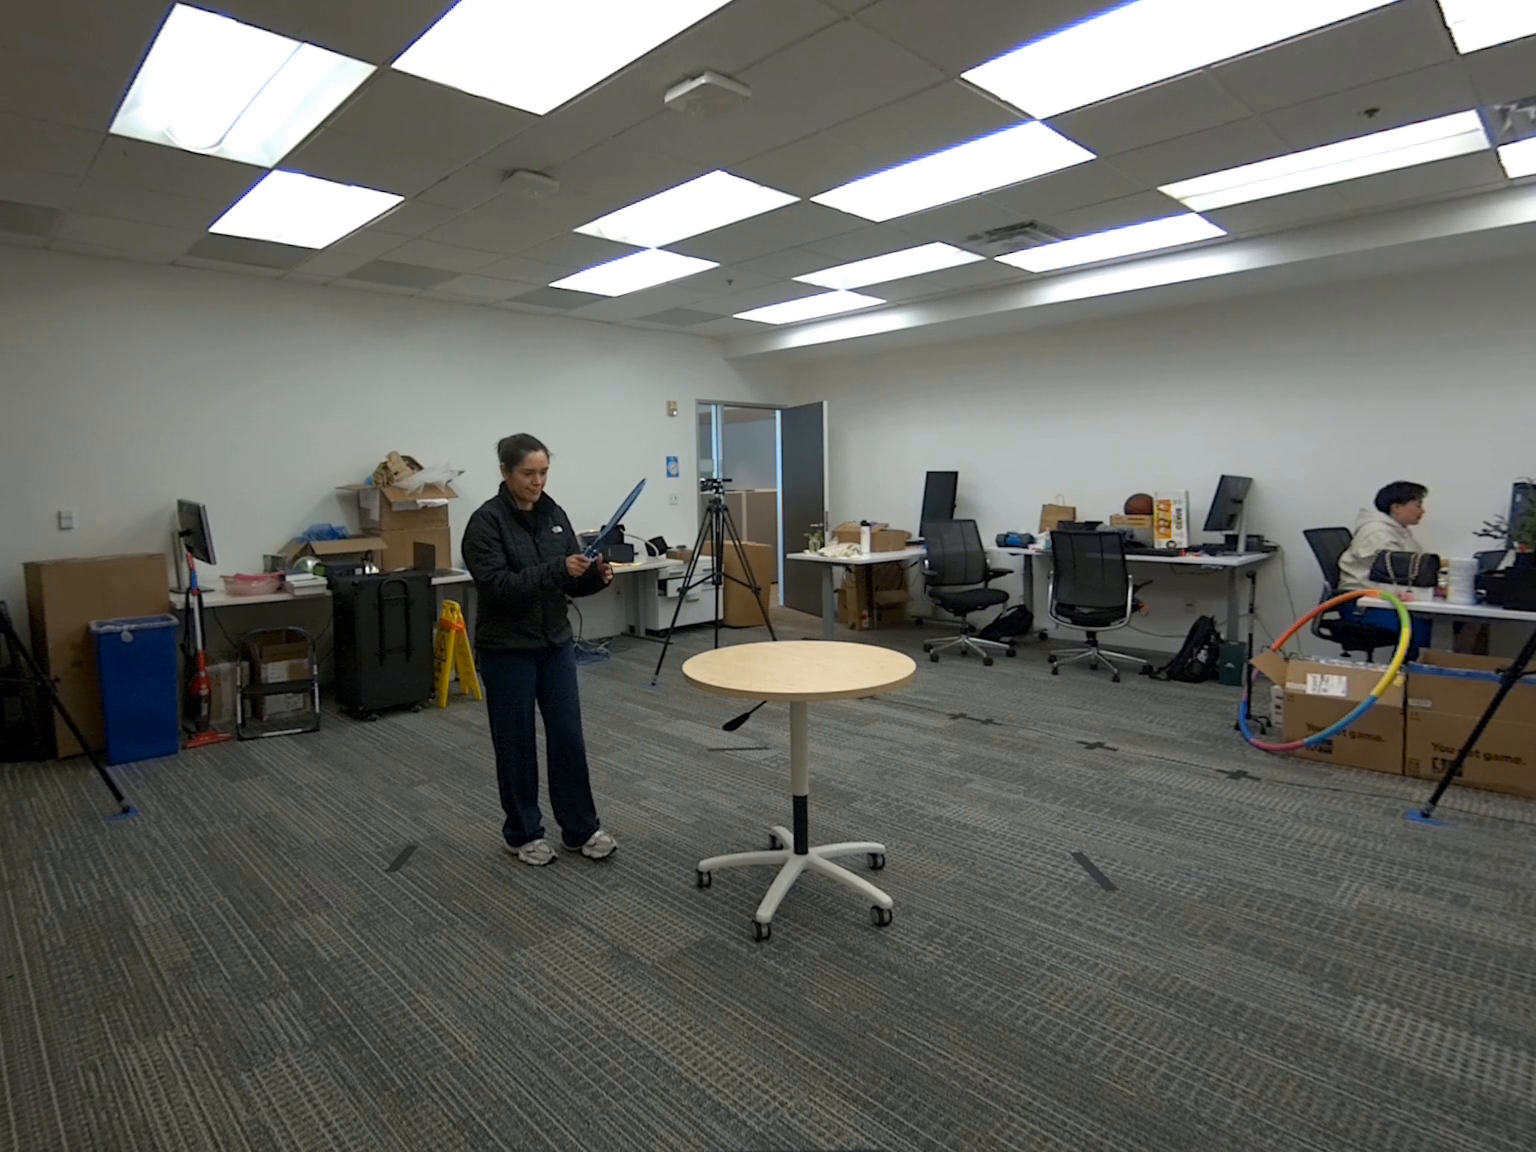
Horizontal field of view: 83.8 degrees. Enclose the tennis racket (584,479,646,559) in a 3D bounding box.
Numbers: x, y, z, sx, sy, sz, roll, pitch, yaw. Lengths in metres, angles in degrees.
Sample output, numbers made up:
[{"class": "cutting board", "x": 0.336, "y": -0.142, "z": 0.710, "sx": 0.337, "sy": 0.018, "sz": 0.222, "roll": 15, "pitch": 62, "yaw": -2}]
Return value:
[{"class": "tennis racket", "x": -0.551, "y": -0.169, "z": 2.981, "sx": 0.031, "sy": 0.432, "sz": 0.218, "roll": 33, "pitch": 20, "yaw": -18}]
